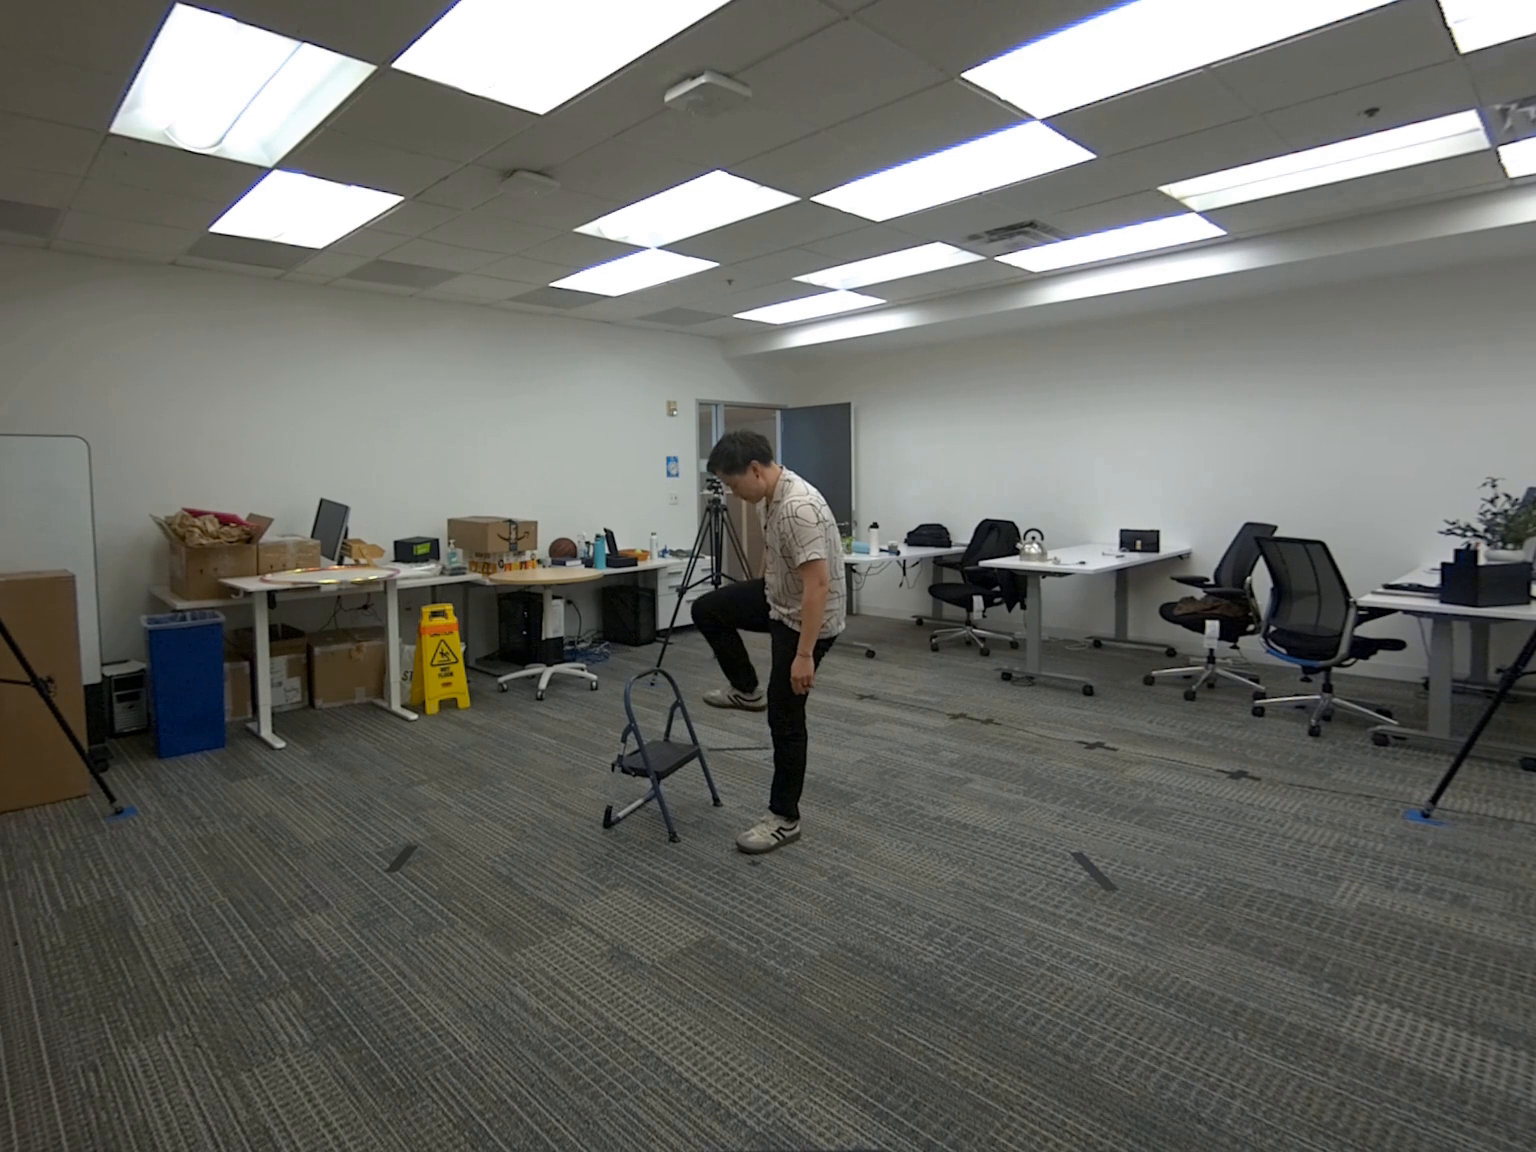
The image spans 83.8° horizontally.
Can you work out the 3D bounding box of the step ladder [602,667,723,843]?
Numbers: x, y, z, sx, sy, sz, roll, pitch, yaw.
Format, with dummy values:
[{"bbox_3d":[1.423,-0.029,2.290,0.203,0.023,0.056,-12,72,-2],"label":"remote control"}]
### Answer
[{"bbox_3d":[-0.440,0.698,3.541,0.357,0.604,0.423,0,4,23],"label":"step ladder"}]
